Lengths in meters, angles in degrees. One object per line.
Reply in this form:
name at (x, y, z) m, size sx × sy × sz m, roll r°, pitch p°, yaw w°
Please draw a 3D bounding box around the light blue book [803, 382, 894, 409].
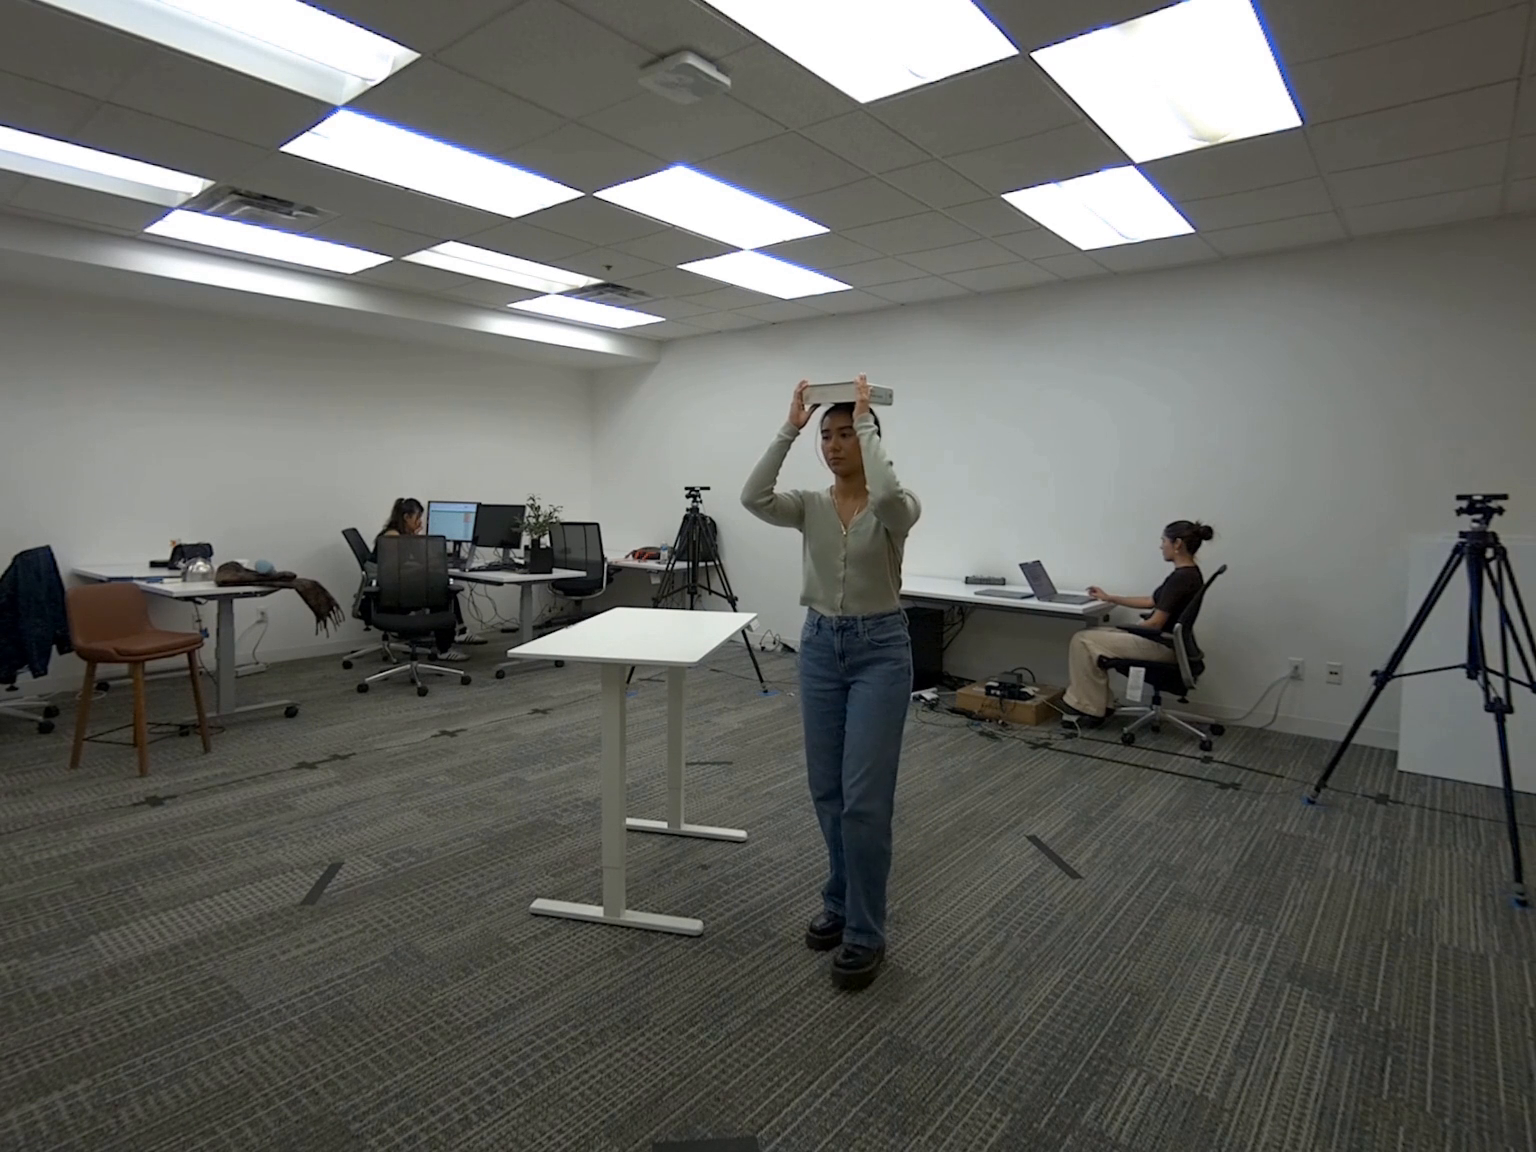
light blue book at (0.242, -0.550, 2.568) m, size 0.197 × 0.059 × 0.254 m, roll 5°, pitch 8°, yaw 31°
